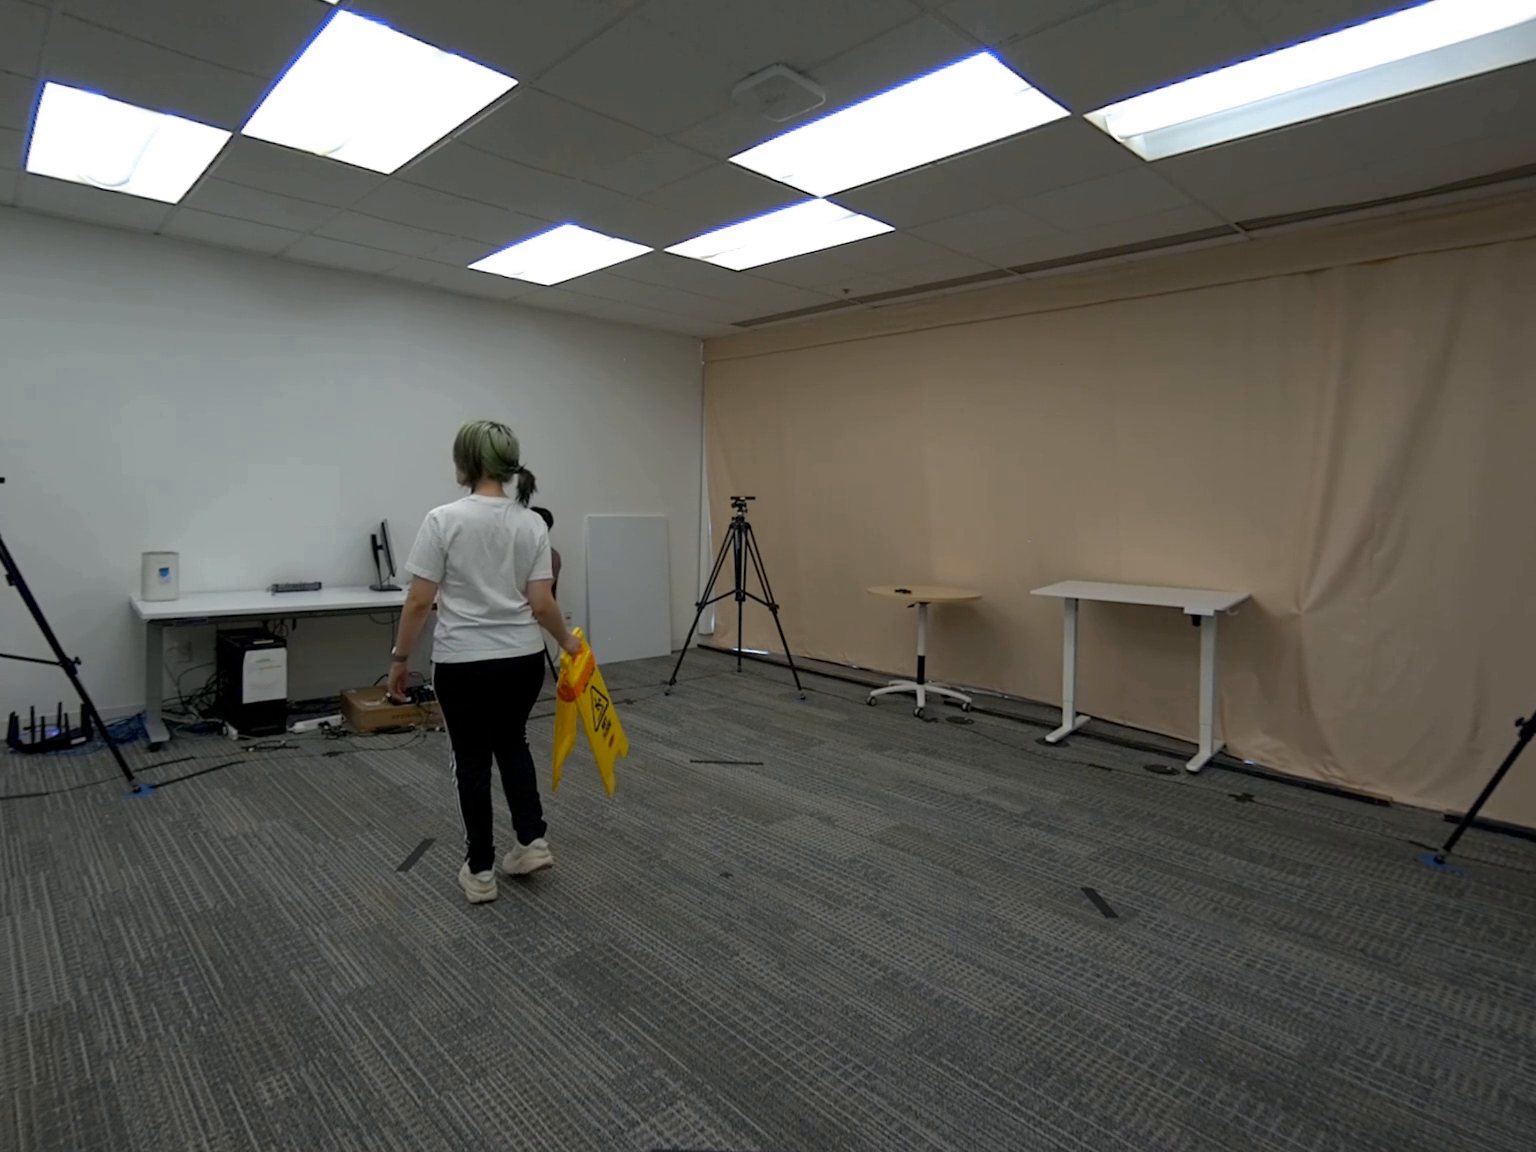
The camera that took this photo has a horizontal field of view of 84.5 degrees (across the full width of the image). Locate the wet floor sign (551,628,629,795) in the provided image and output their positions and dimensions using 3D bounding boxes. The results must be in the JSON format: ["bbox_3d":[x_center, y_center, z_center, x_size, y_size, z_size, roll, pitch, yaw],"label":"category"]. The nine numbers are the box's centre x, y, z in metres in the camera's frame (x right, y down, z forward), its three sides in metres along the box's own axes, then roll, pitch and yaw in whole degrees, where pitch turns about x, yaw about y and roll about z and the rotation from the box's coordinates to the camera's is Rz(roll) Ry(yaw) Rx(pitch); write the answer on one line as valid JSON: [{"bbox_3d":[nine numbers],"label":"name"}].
[{"bbox_3d":[-0.746,0.529,3.299,0.291,0.634,0.286,1,29,4],"label":"wet floor sign"}]
